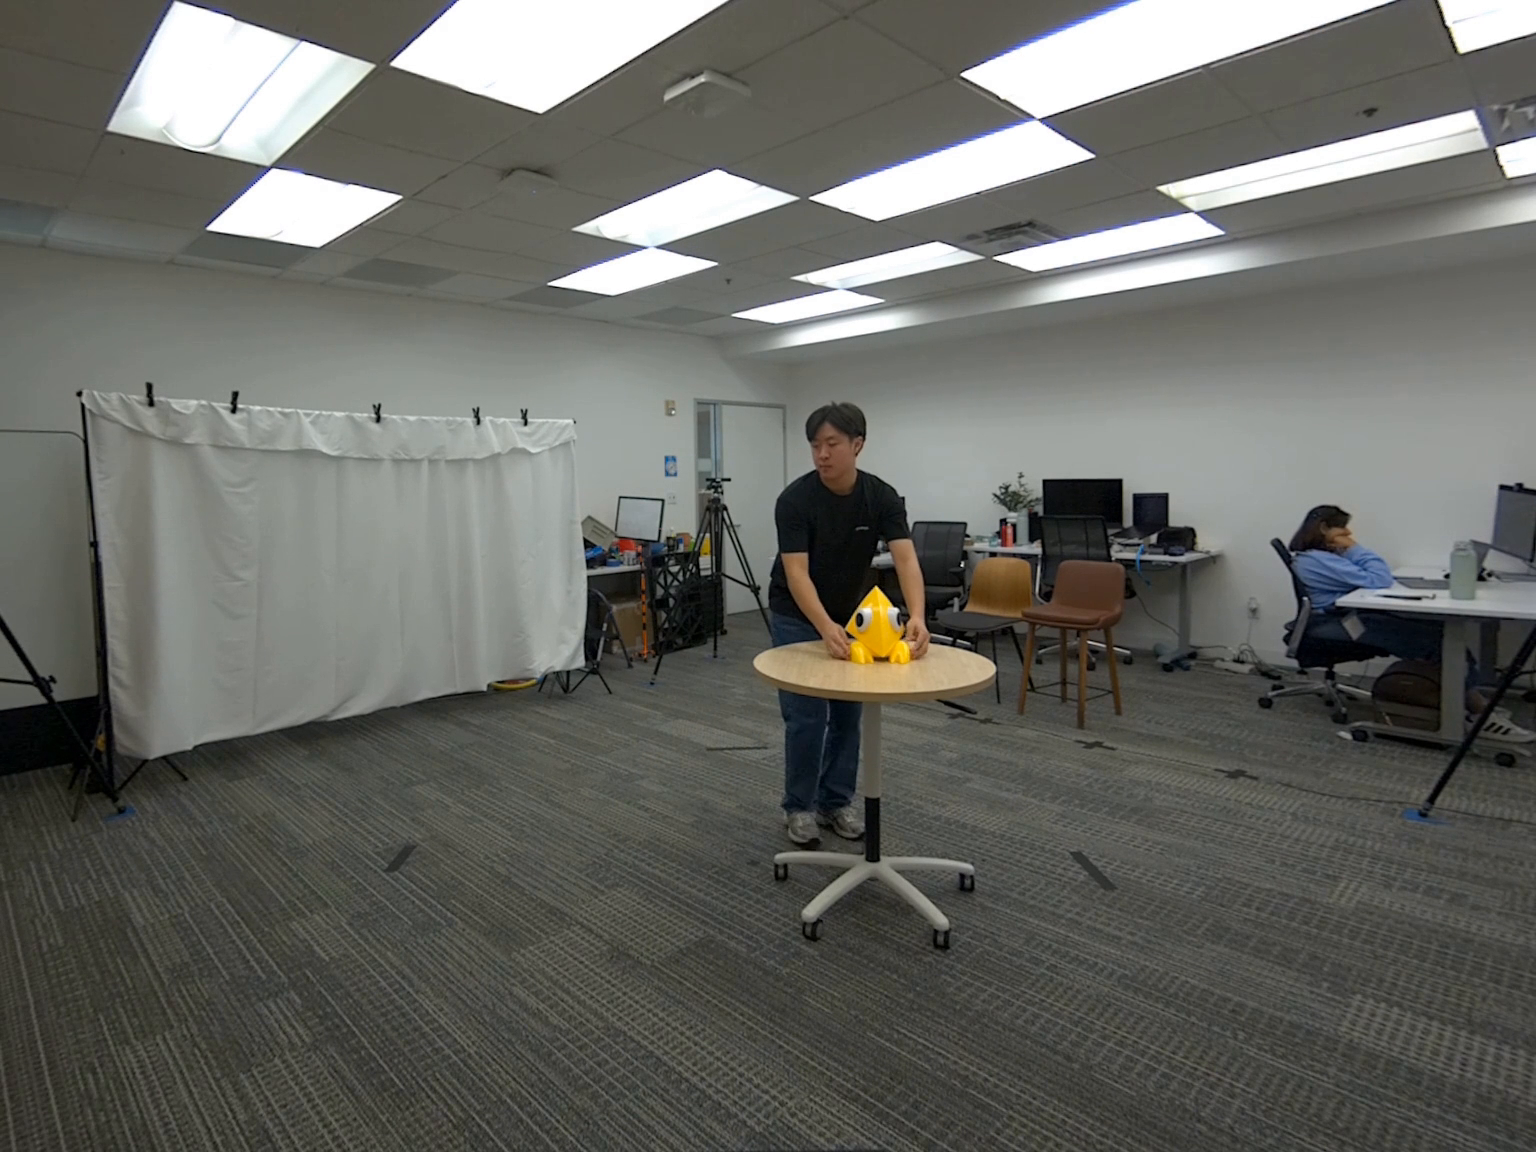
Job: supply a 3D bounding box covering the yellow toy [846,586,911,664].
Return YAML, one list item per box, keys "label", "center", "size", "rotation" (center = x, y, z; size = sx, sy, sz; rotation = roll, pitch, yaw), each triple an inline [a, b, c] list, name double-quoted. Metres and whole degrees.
- label: "yellow toy"
  center: [0.361, 0.158, 2.810]
  size: [0.205, 0.230, 0.194]
  rotation: [-1, 5, 1]
